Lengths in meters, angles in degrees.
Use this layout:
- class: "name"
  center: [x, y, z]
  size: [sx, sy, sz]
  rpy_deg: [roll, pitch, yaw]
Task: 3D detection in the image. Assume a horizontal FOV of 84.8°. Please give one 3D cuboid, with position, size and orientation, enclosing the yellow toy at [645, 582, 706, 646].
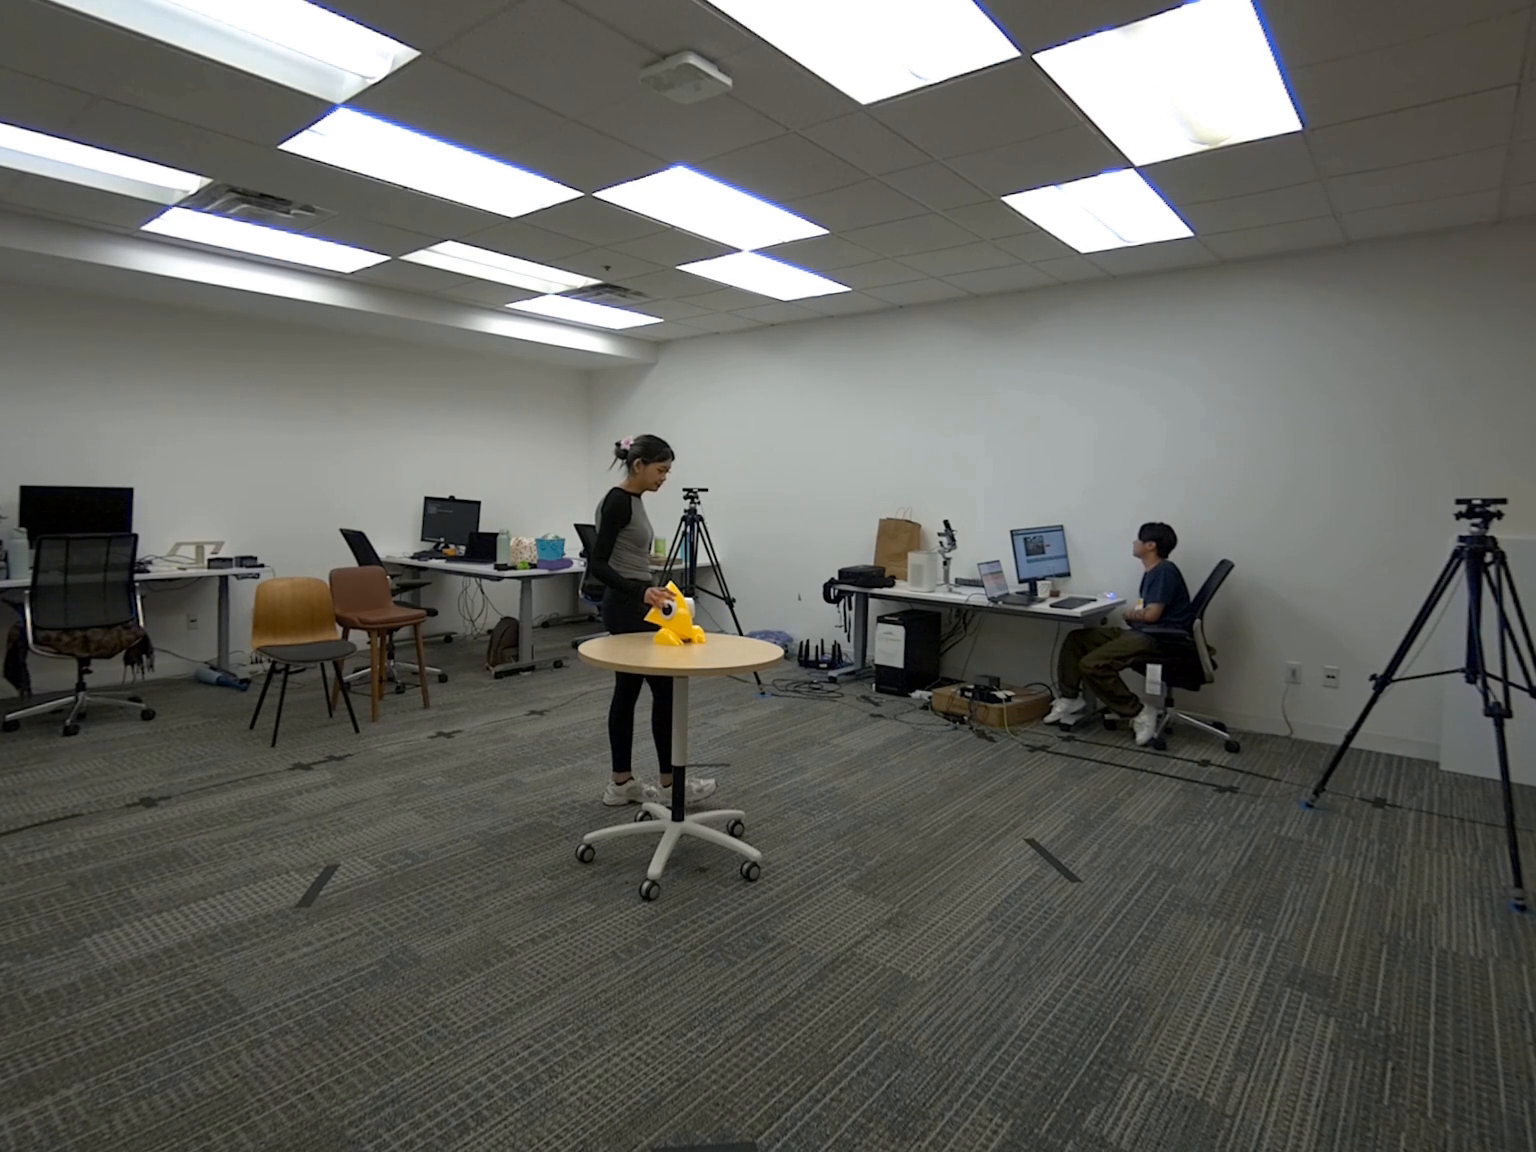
- class: "yellow toy"
  center: [-0.360, 0.139, 3.336]
  size: [0.198, 0.230, 0.200]
  rpy_deg: [-2, 6, -40]
